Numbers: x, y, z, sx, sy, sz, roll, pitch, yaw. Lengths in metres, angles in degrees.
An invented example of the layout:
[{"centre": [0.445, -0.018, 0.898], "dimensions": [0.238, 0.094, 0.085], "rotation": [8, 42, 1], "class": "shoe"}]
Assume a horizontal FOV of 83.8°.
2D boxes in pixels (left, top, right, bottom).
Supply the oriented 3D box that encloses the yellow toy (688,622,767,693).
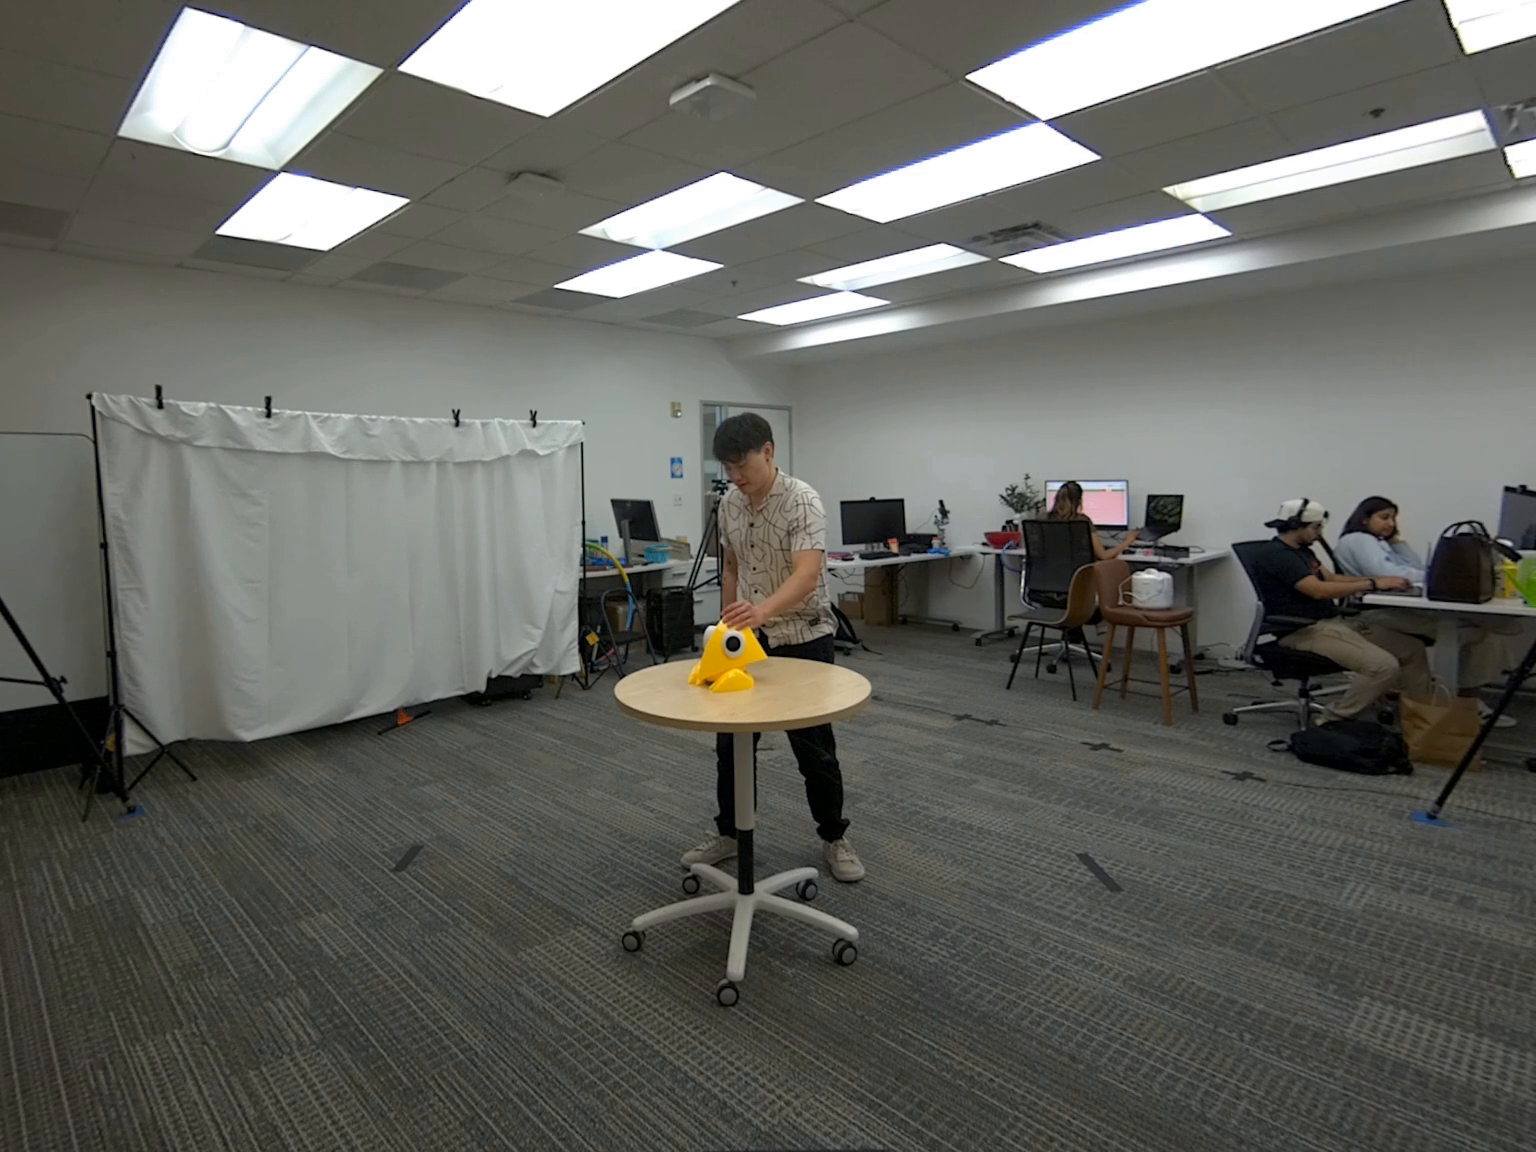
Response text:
[{"centre": [-0.141, 0.214, 2.584], "dimensions": [0.188, 0.230, 0.211], "rotation": [-6, 7, -41], "class": "yellow toy"}]
